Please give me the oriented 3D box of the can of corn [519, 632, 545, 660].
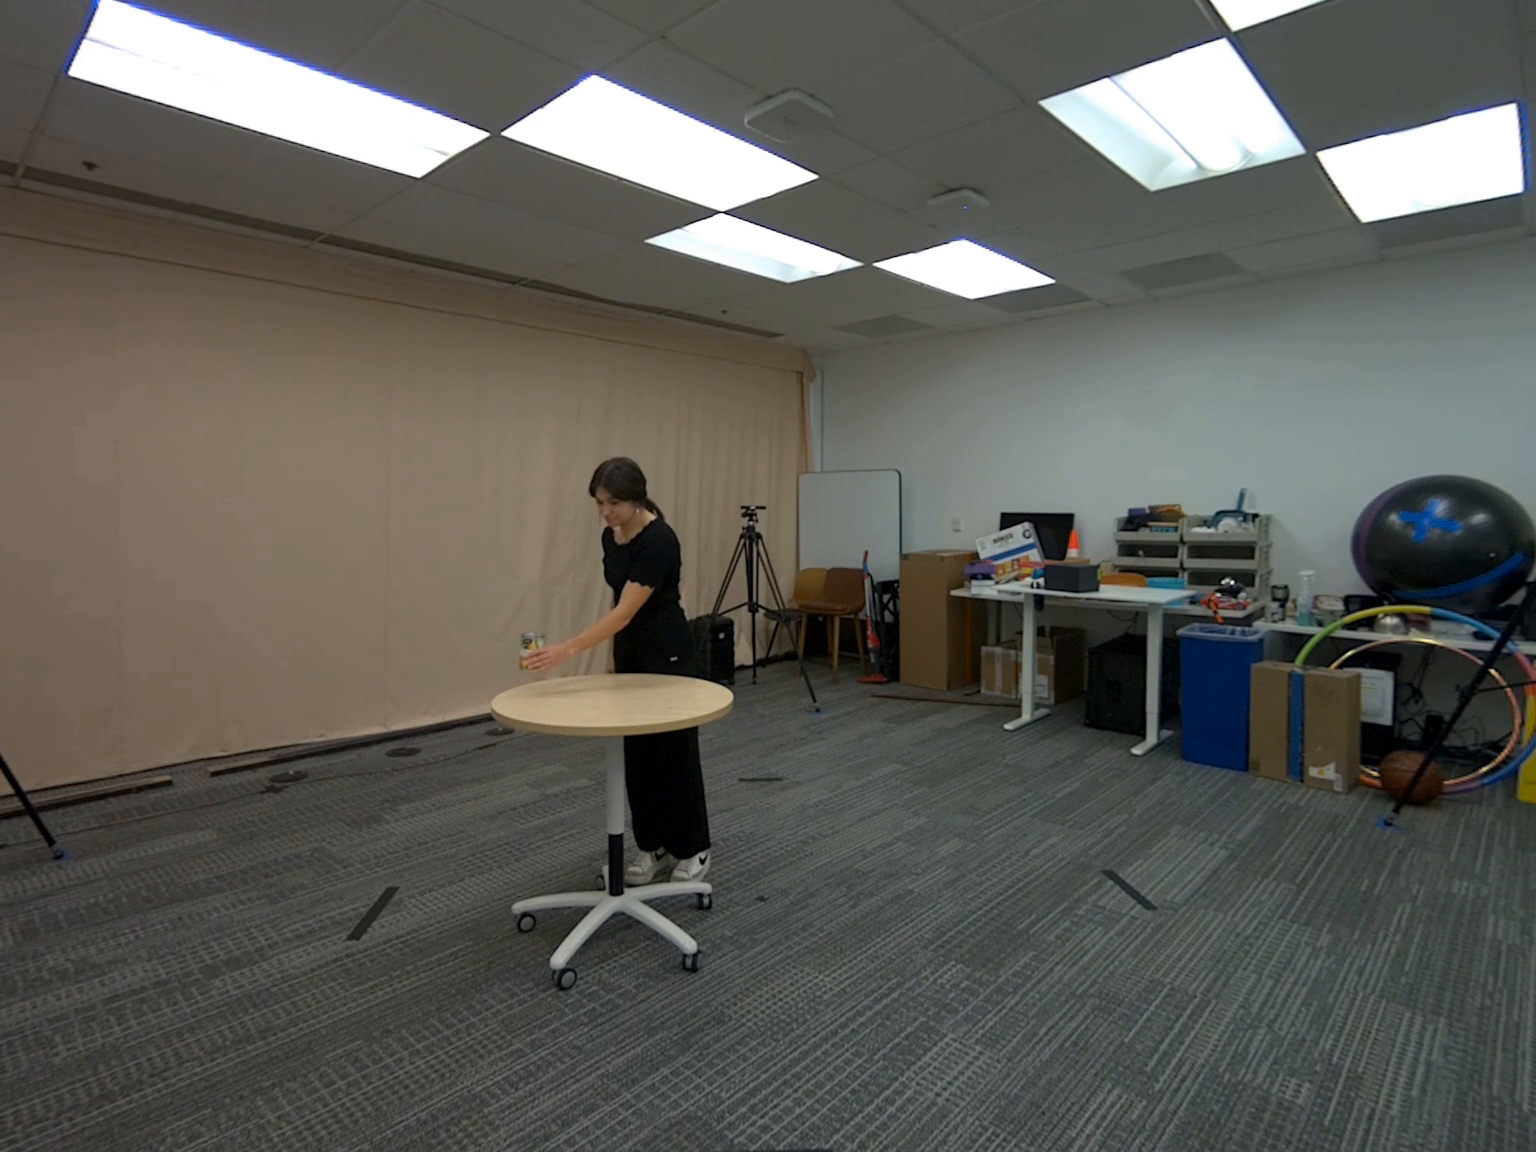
[{"bbox_3d":[-0.769,0.246,2.751,0.074,0.111,0.074,2,2,-2],"label":"can of corn"}]
